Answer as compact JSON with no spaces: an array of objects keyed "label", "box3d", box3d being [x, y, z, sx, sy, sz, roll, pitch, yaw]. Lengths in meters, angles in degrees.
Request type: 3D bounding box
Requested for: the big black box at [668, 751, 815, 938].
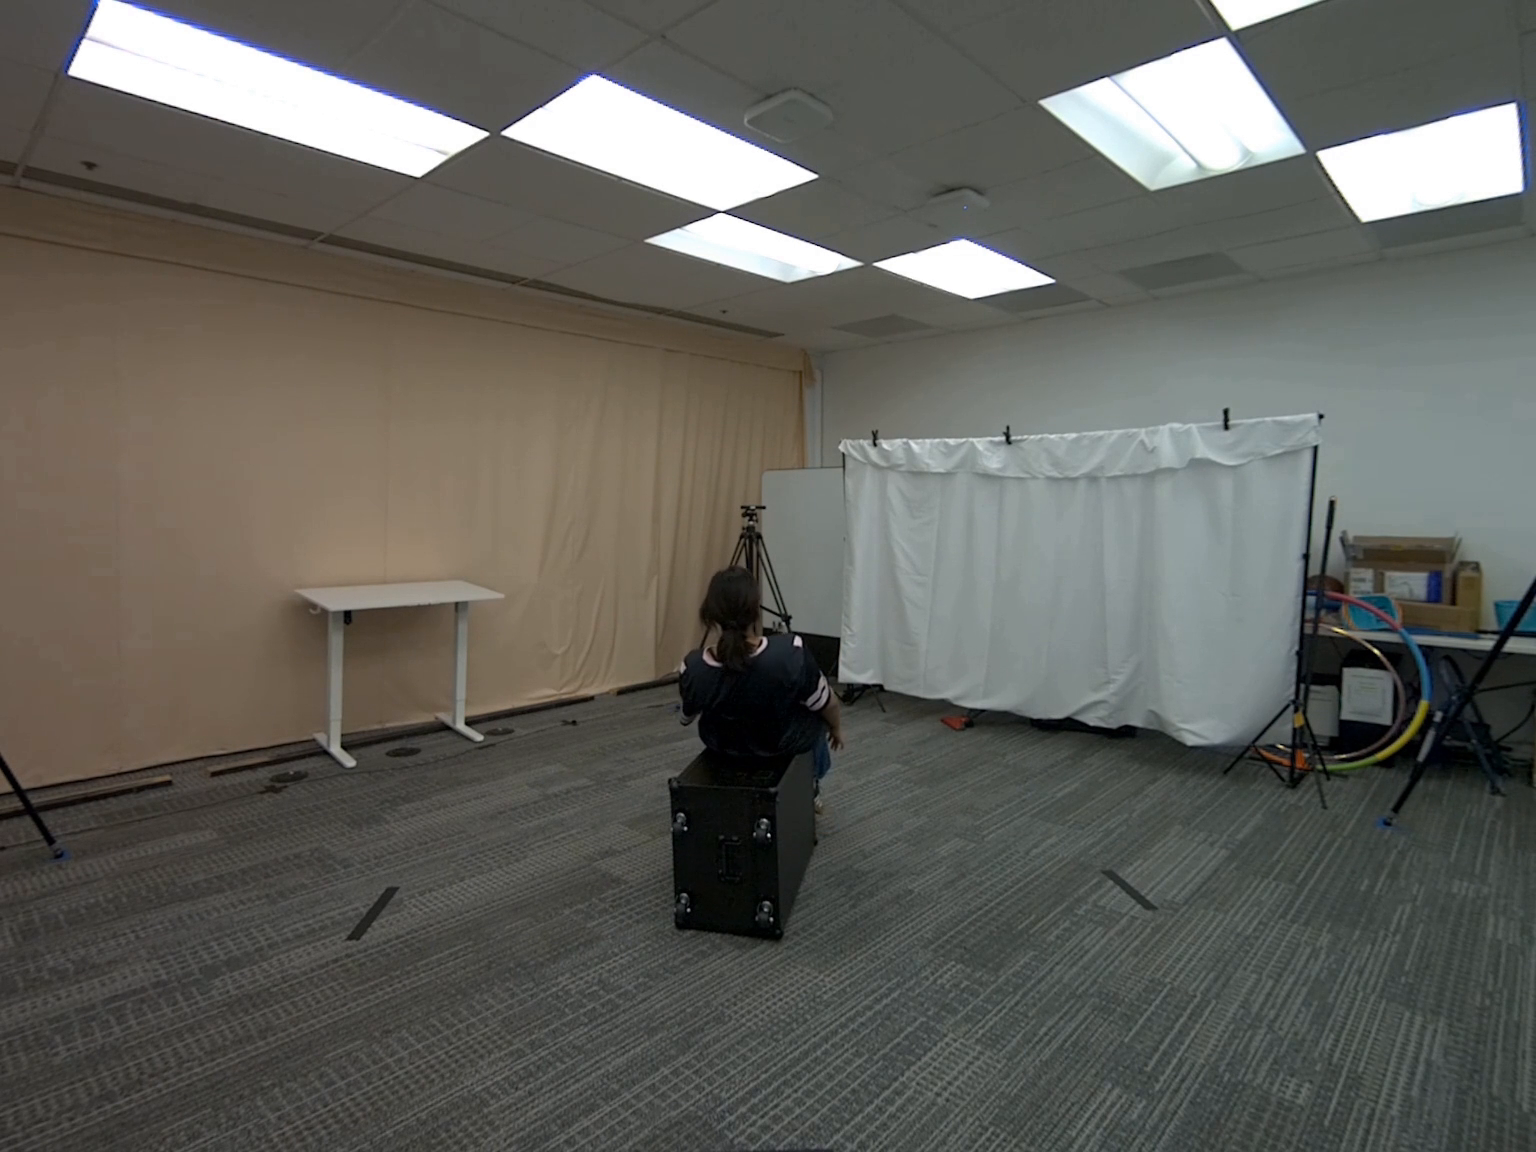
[{"label":"big black box","box3d":[-0.068,0.878,3.053,0.391,0.522,0.857,1,5,13]}]
